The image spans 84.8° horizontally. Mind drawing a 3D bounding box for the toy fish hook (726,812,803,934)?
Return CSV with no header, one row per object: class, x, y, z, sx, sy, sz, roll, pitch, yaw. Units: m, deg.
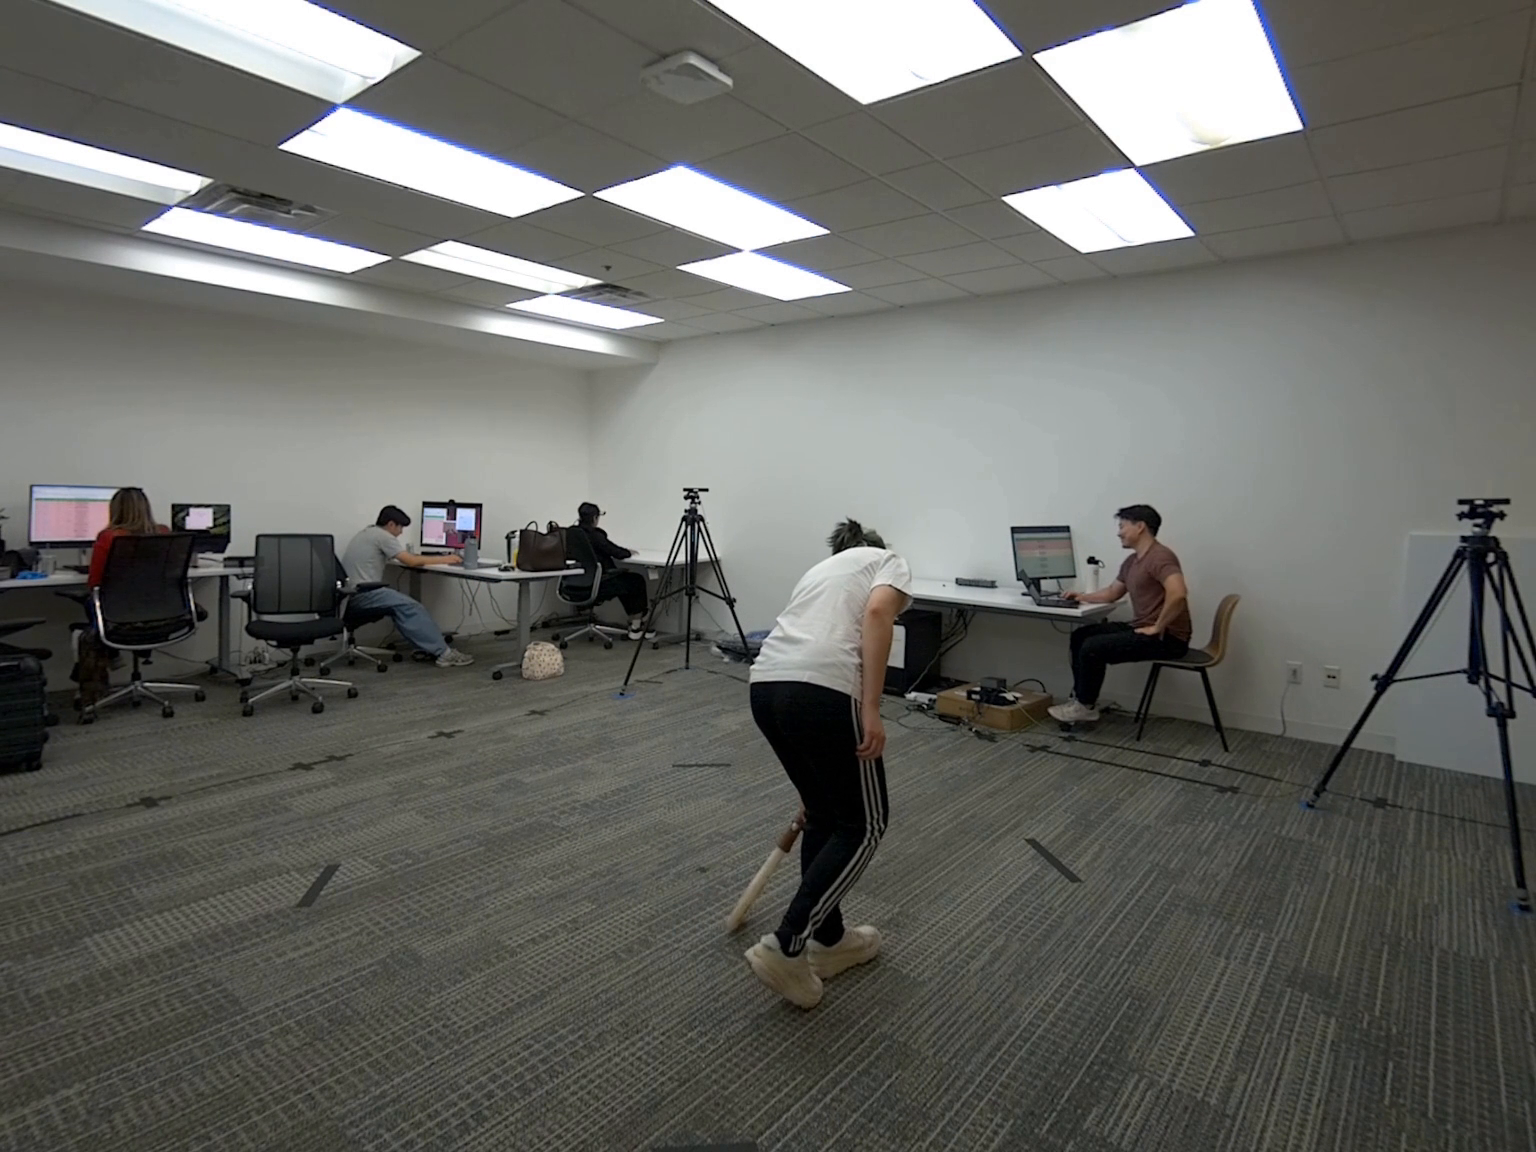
toy fish hook,0.015,0.891,2.676,0.049,0.506,0.220,34,2,14
